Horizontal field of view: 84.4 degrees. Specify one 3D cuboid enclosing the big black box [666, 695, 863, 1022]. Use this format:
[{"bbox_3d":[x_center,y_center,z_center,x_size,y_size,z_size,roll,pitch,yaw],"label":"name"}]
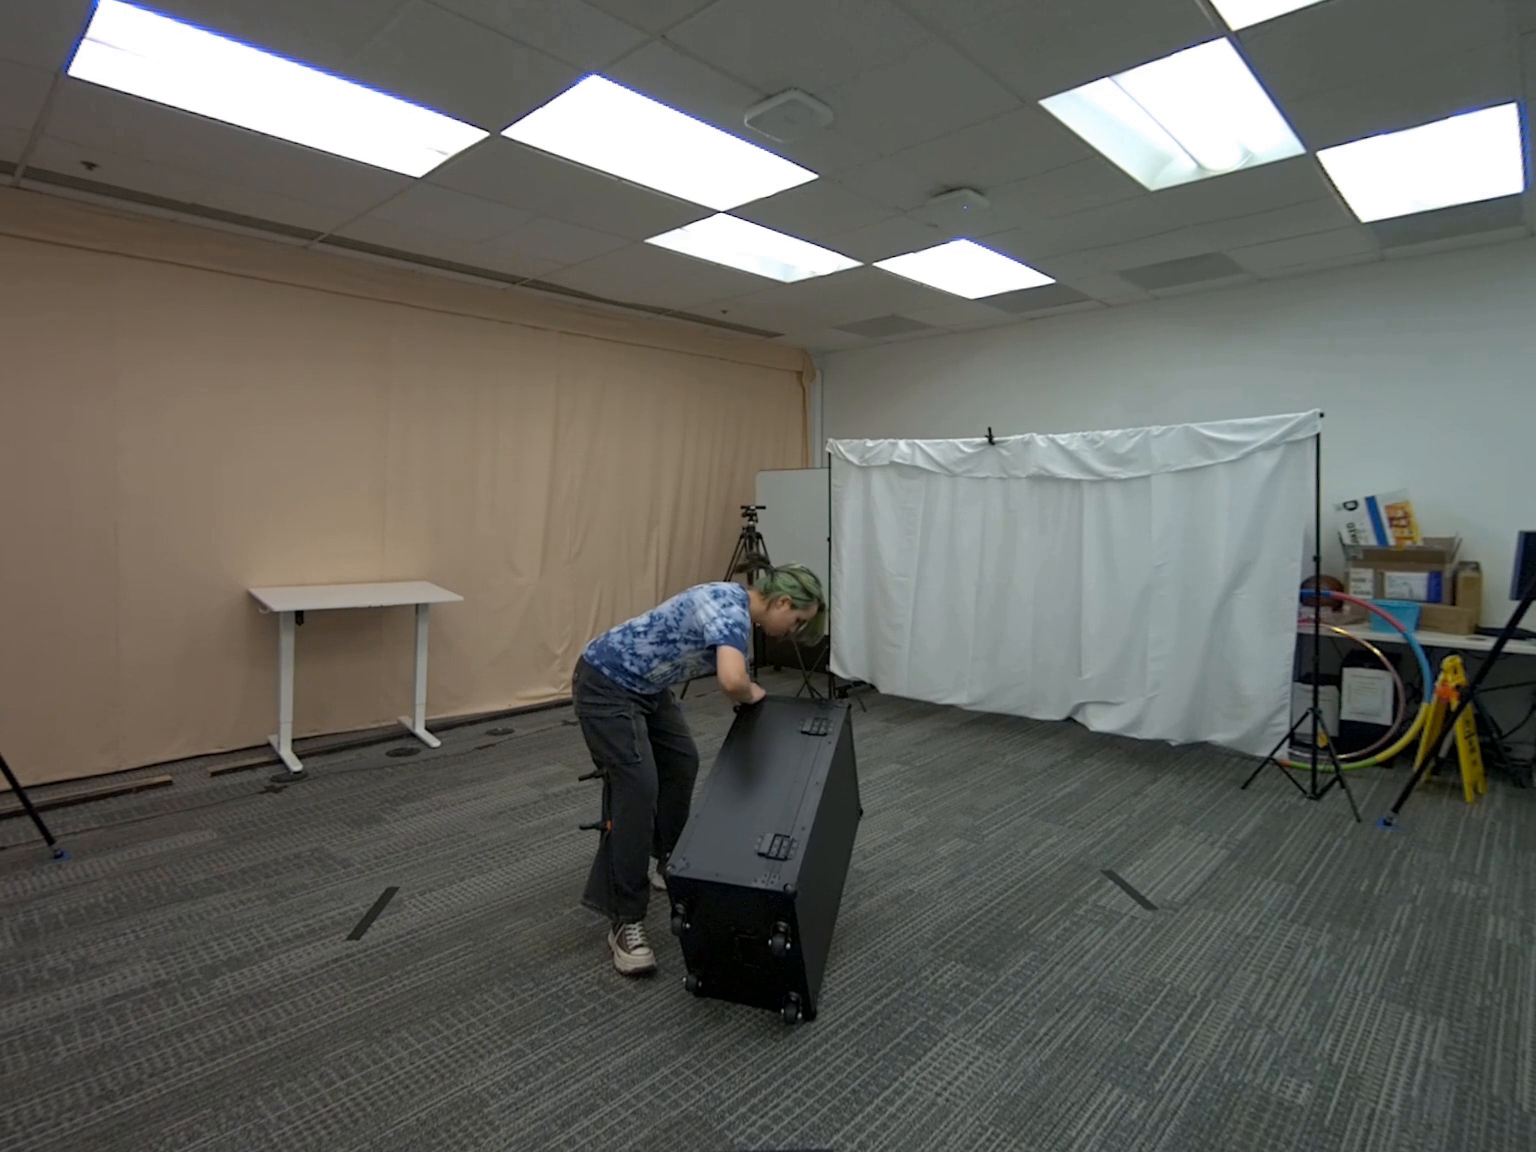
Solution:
[{"bbox_3d":[0.012,0.811,2.526,0.405,0.511,0.859,1,29,19],"label":"big black box"}]
